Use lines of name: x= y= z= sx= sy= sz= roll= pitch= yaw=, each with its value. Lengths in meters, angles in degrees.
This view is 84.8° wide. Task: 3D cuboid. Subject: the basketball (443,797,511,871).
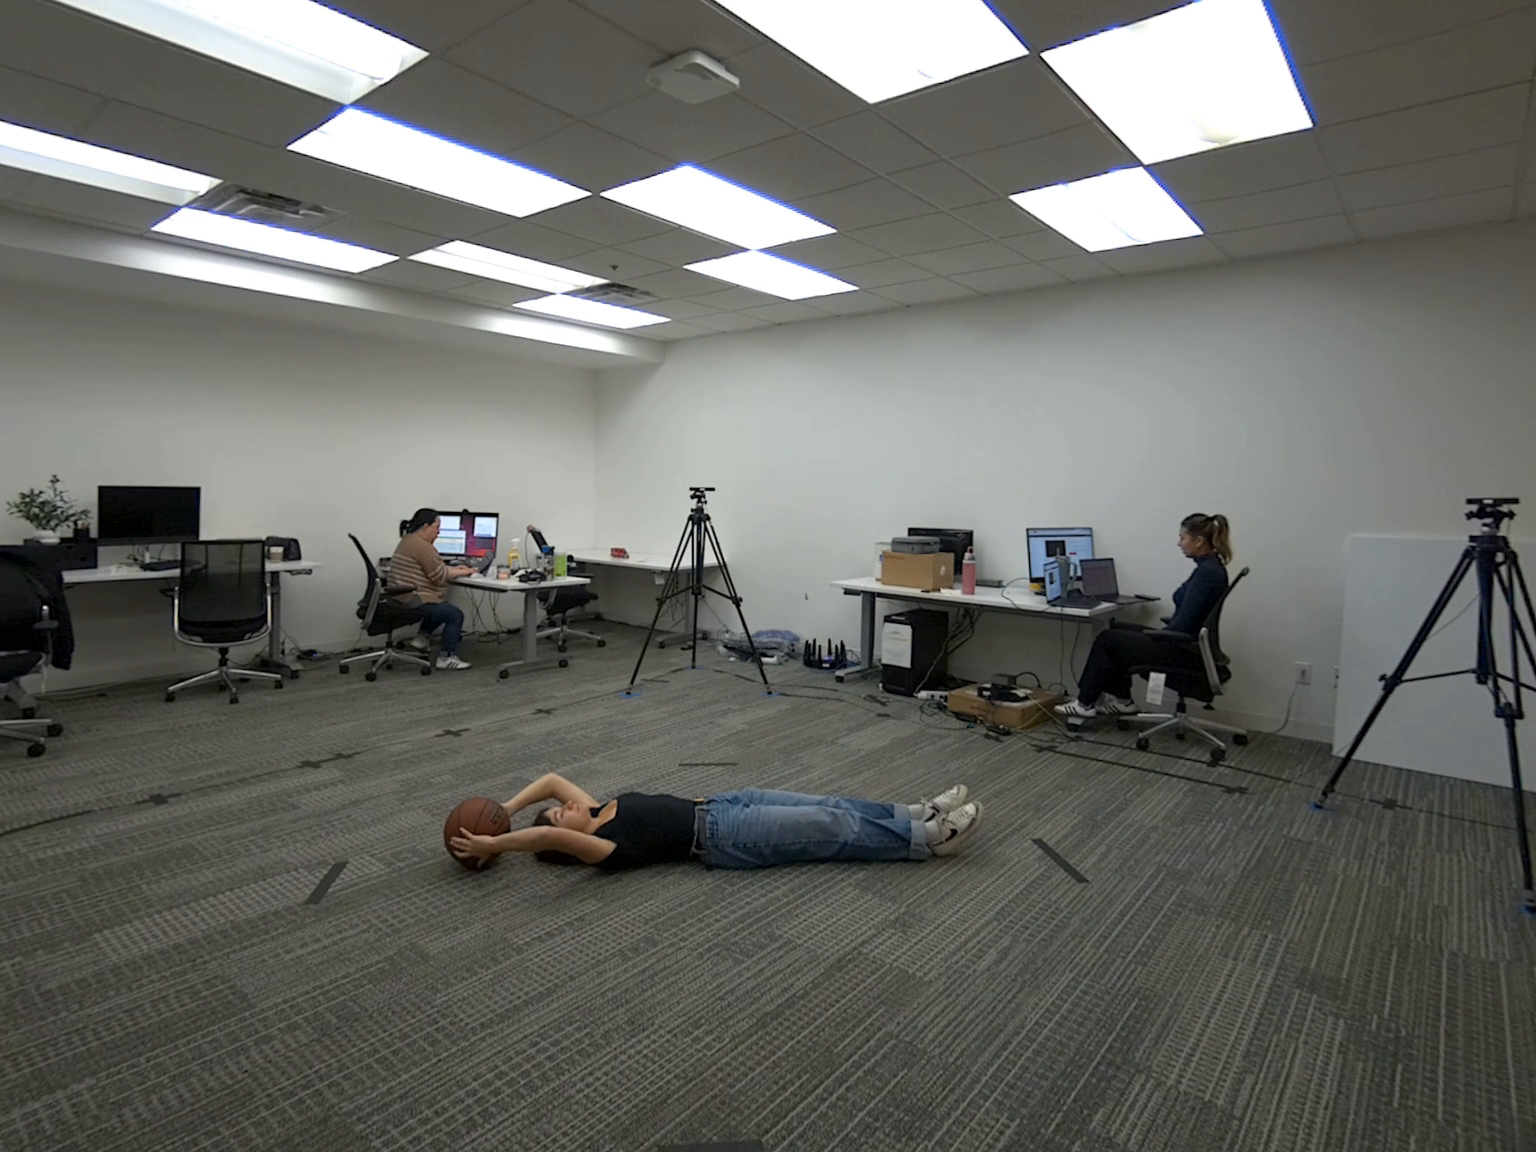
basketball: x=-1.075 y=0.930 z=3.111 sx=0.235 sy=0.235 sz=0.237 roll=1 pitch=4 yaw=-2
